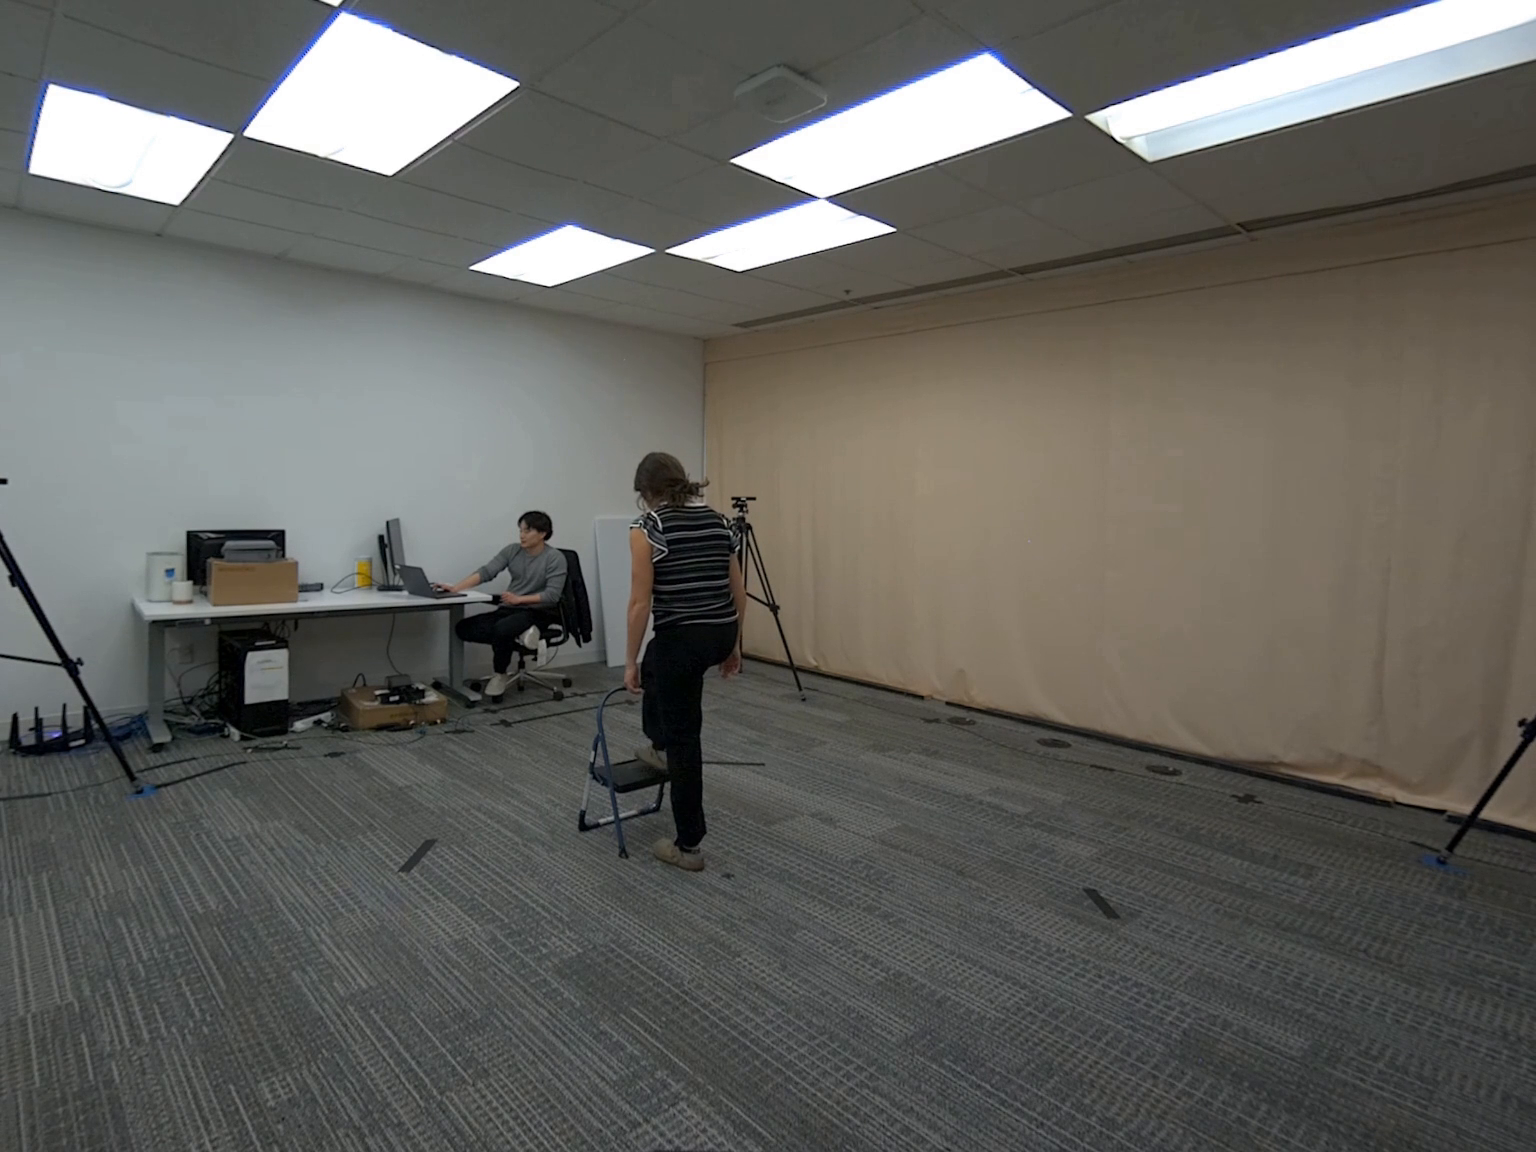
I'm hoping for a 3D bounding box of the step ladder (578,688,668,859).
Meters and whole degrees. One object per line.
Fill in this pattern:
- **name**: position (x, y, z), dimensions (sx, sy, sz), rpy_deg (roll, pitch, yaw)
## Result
- **step ladder**: position (-0.524, 0.762, 3.487), dimensions (0.421, 0.605, 0.358), rpy_deg (-2, 4, -44)
